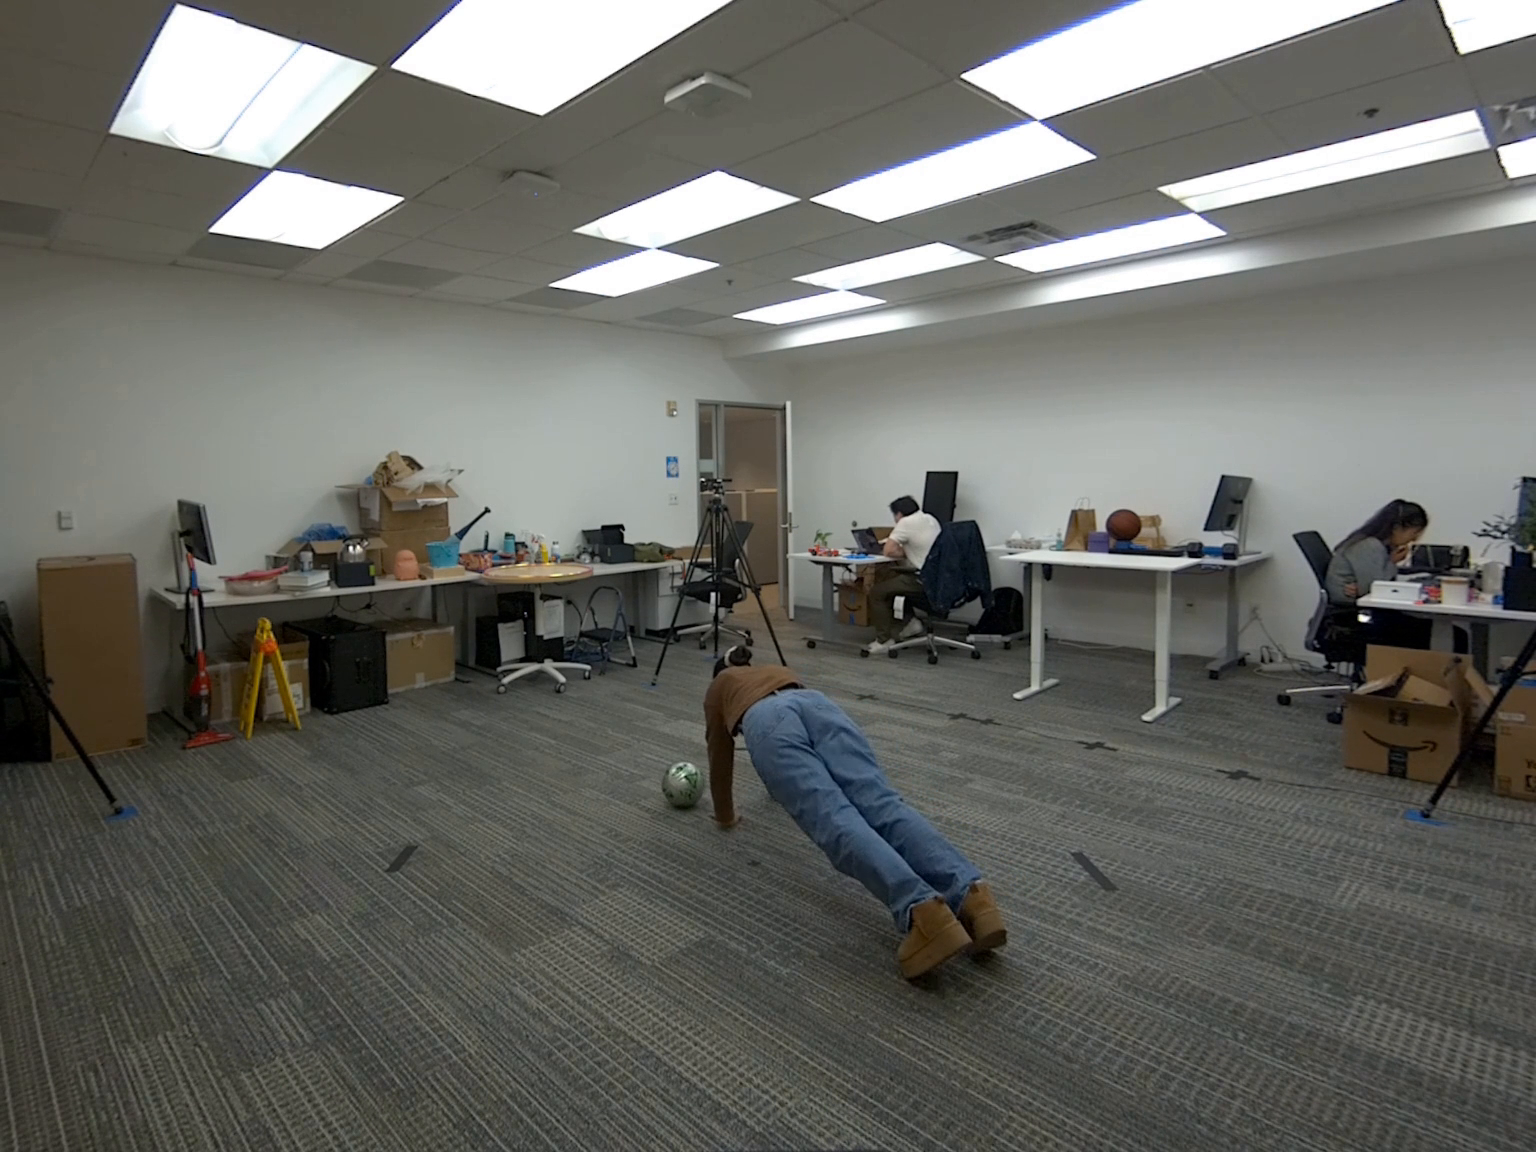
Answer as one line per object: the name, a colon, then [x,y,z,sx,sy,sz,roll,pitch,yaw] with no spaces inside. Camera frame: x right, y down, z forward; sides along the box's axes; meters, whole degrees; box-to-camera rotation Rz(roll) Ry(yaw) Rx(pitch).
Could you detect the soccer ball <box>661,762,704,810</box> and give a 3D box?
soccer ball: [-0.356,0.897,3.669,0.187,0.187,0.188,-1,5,-2]
